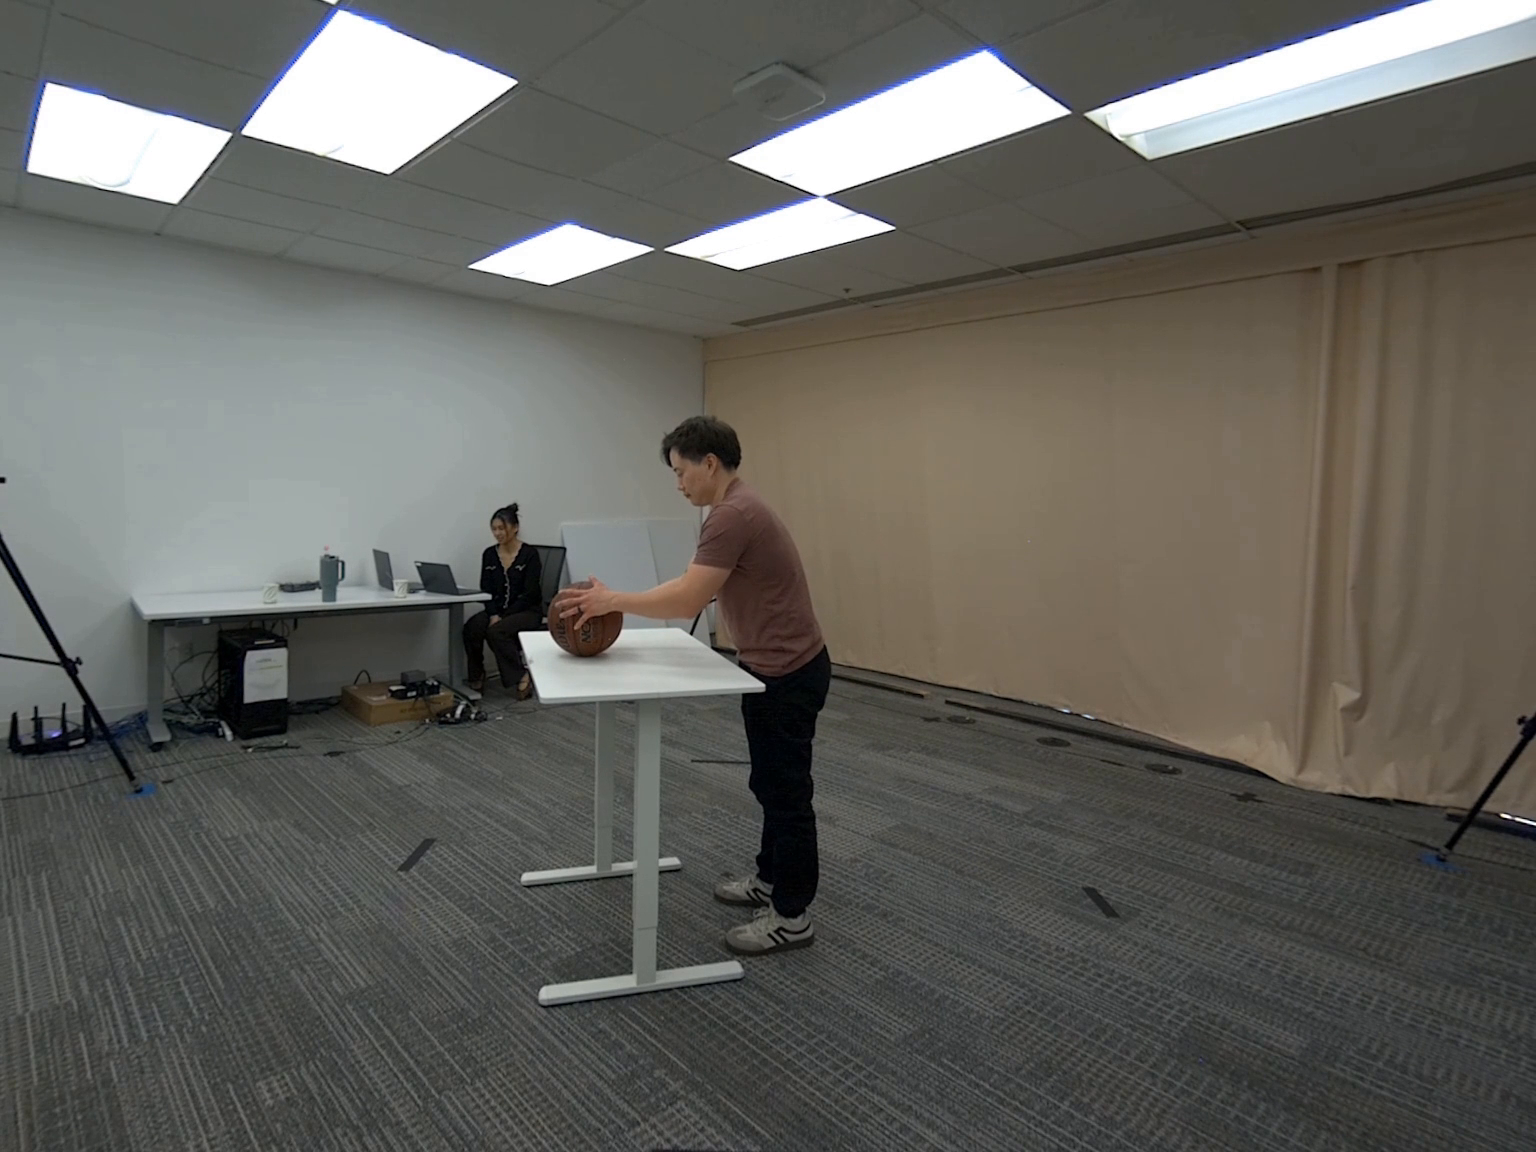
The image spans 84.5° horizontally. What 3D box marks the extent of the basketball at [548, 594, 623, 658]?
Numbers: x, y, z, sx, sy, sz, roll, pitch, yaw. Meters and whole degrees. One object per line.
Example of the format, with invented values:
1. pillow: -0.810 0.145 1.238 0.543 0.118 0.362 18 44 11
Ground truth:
1. basketball: -0.585 0.133 2.668 0.236 0.235 0.237 1 4 -1
